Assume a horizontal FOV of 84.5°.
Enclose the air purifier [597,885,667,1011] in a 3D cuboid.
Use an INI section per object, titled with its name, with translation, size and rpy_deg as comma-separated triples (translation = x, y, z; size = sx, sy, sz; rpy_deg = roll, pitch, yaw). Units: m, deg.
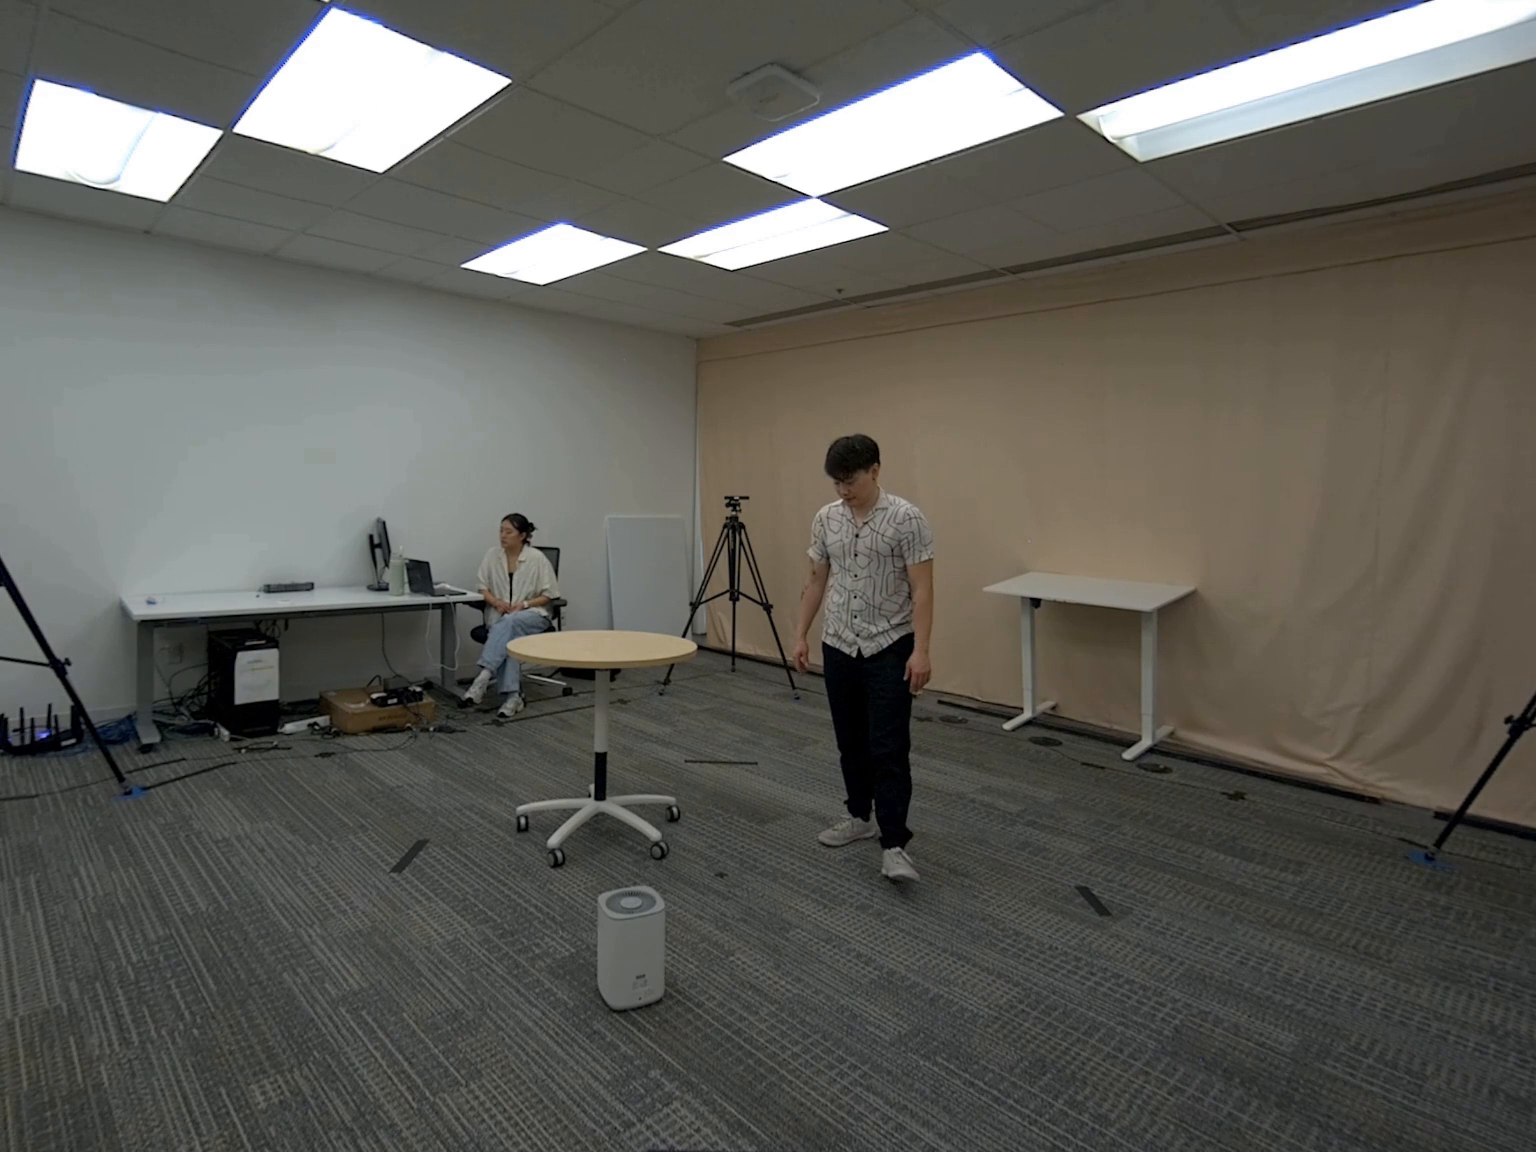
[air purifier]
translation = -0.387, 1.036, 2.339
size = 0.168, 0.265, 0.175
rpy_deg = -1, 4, -29
